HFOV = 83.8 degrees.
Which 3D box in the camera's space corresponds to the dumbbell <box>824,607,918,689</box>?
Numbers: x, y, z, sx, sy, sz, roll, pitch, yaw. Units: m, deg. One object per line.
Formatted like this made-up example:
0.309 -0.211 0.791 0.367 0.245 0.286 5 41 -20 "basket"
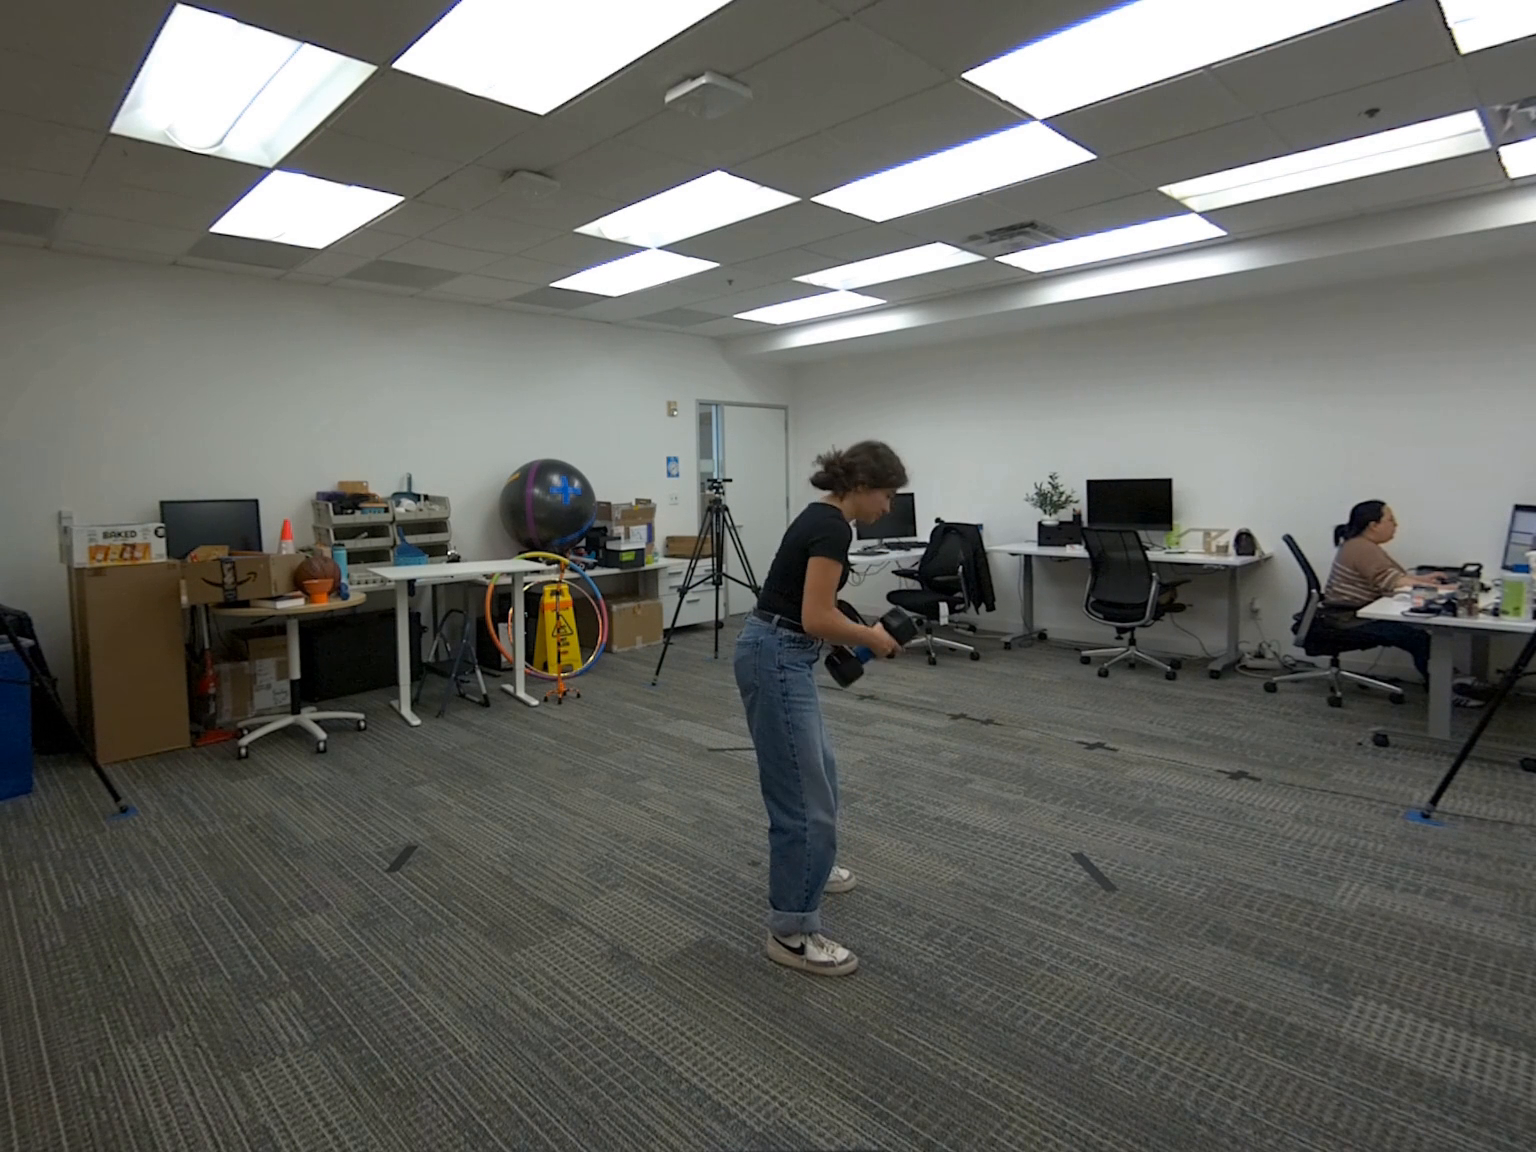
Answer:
0.316 0.226 2.602 0.292 0.121 0.111 -34 12 -10 "dumbbell"
